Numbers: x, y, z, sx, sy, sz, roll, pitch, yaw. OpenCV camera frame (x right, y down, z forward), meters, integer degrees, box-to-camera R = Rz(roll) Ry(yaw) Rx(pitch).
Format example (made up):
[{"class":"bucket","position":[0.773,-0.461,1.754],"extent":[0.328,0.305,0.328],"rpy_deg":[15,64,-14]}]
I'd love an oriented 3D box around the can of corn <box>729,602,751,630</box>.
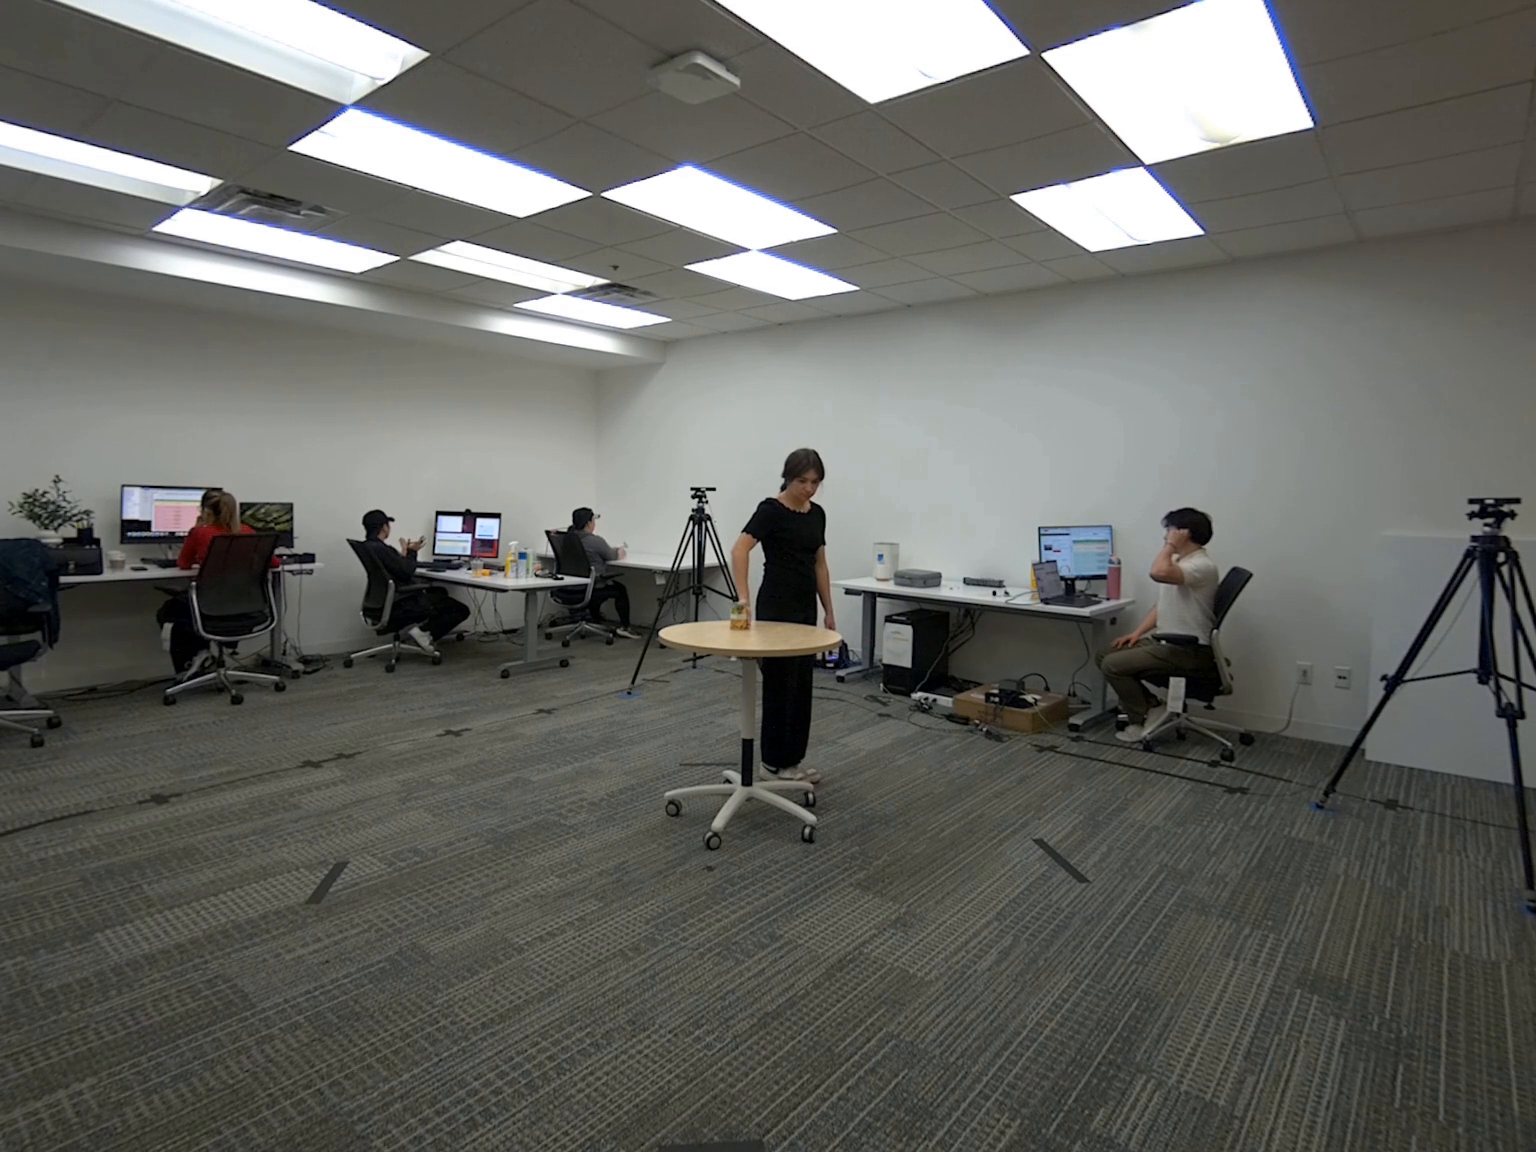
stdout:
[{"class":"can of corn","position":[-0.141,0.175,3.705],"extent":[0.074,0.111,0.074],"rpy_deg":[4,0,-2]}]
